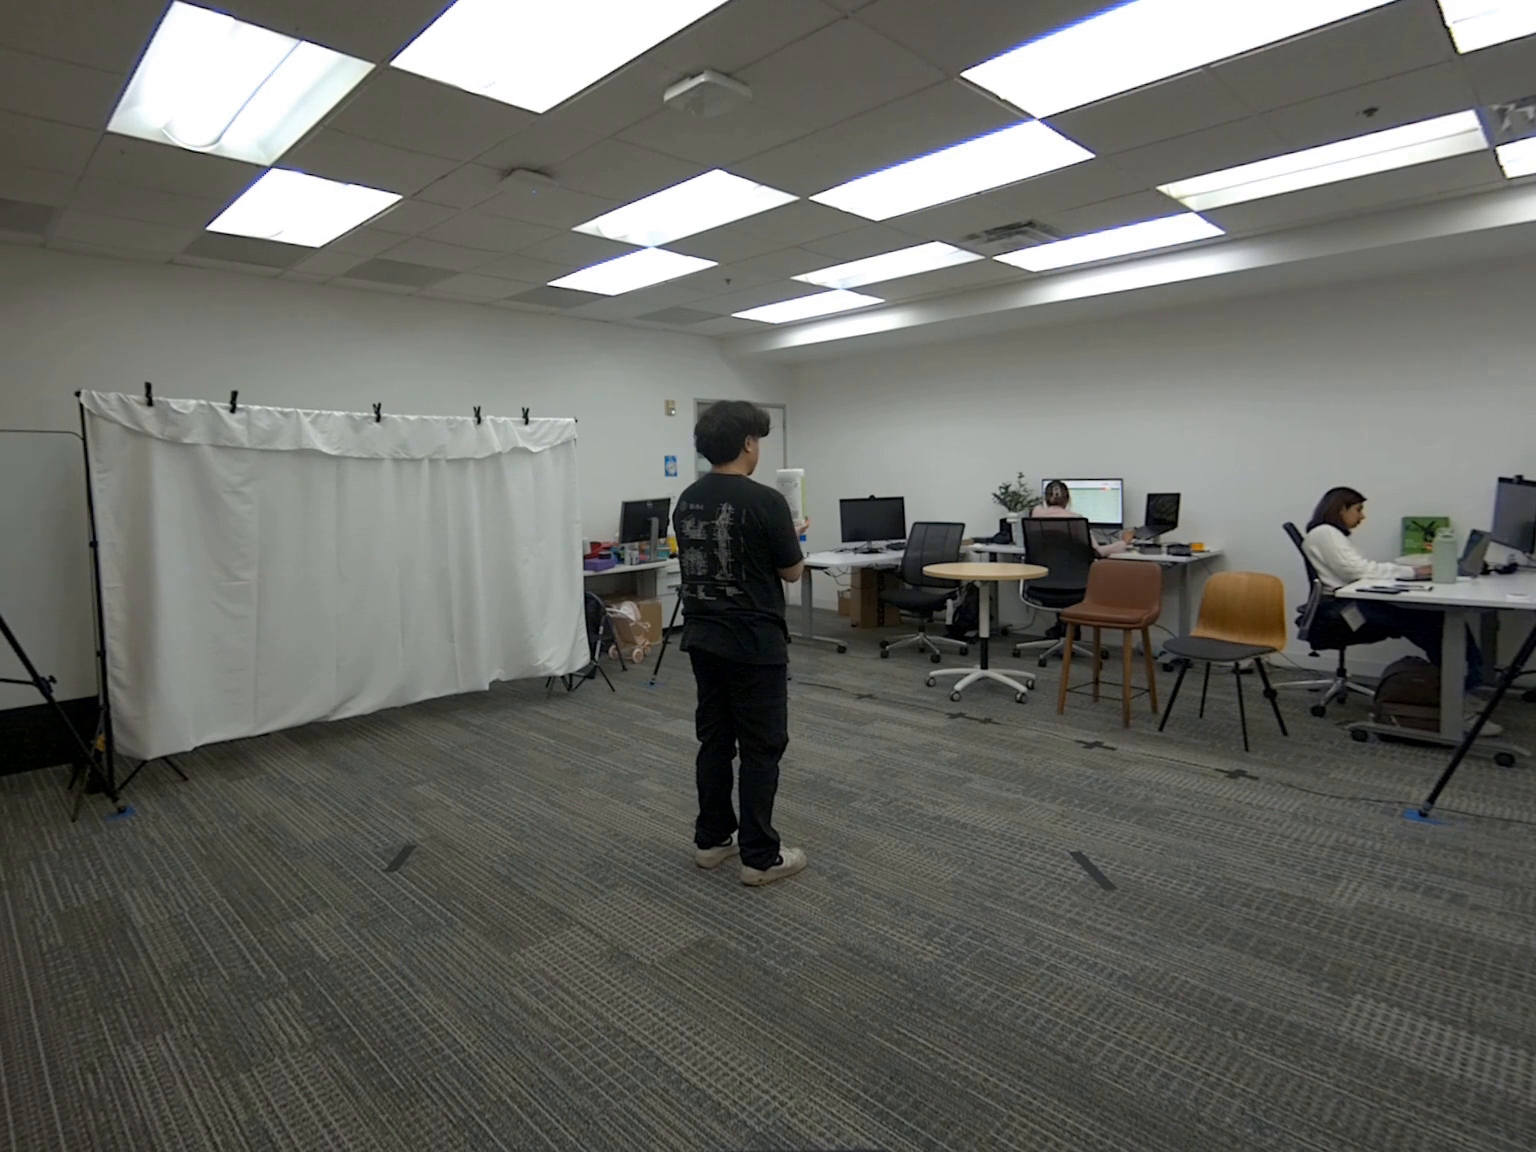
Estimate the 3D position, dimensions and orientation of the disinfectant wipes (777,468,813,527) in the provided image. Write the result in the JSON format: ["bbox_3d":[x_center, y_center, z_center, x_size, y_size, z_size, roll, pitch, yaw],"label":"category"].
[{"bbox_3d":[0.101,-0.306,3.303,0.118,0.216,0.118,-2,6,-1],"label":"disinfectant wipes"}]
